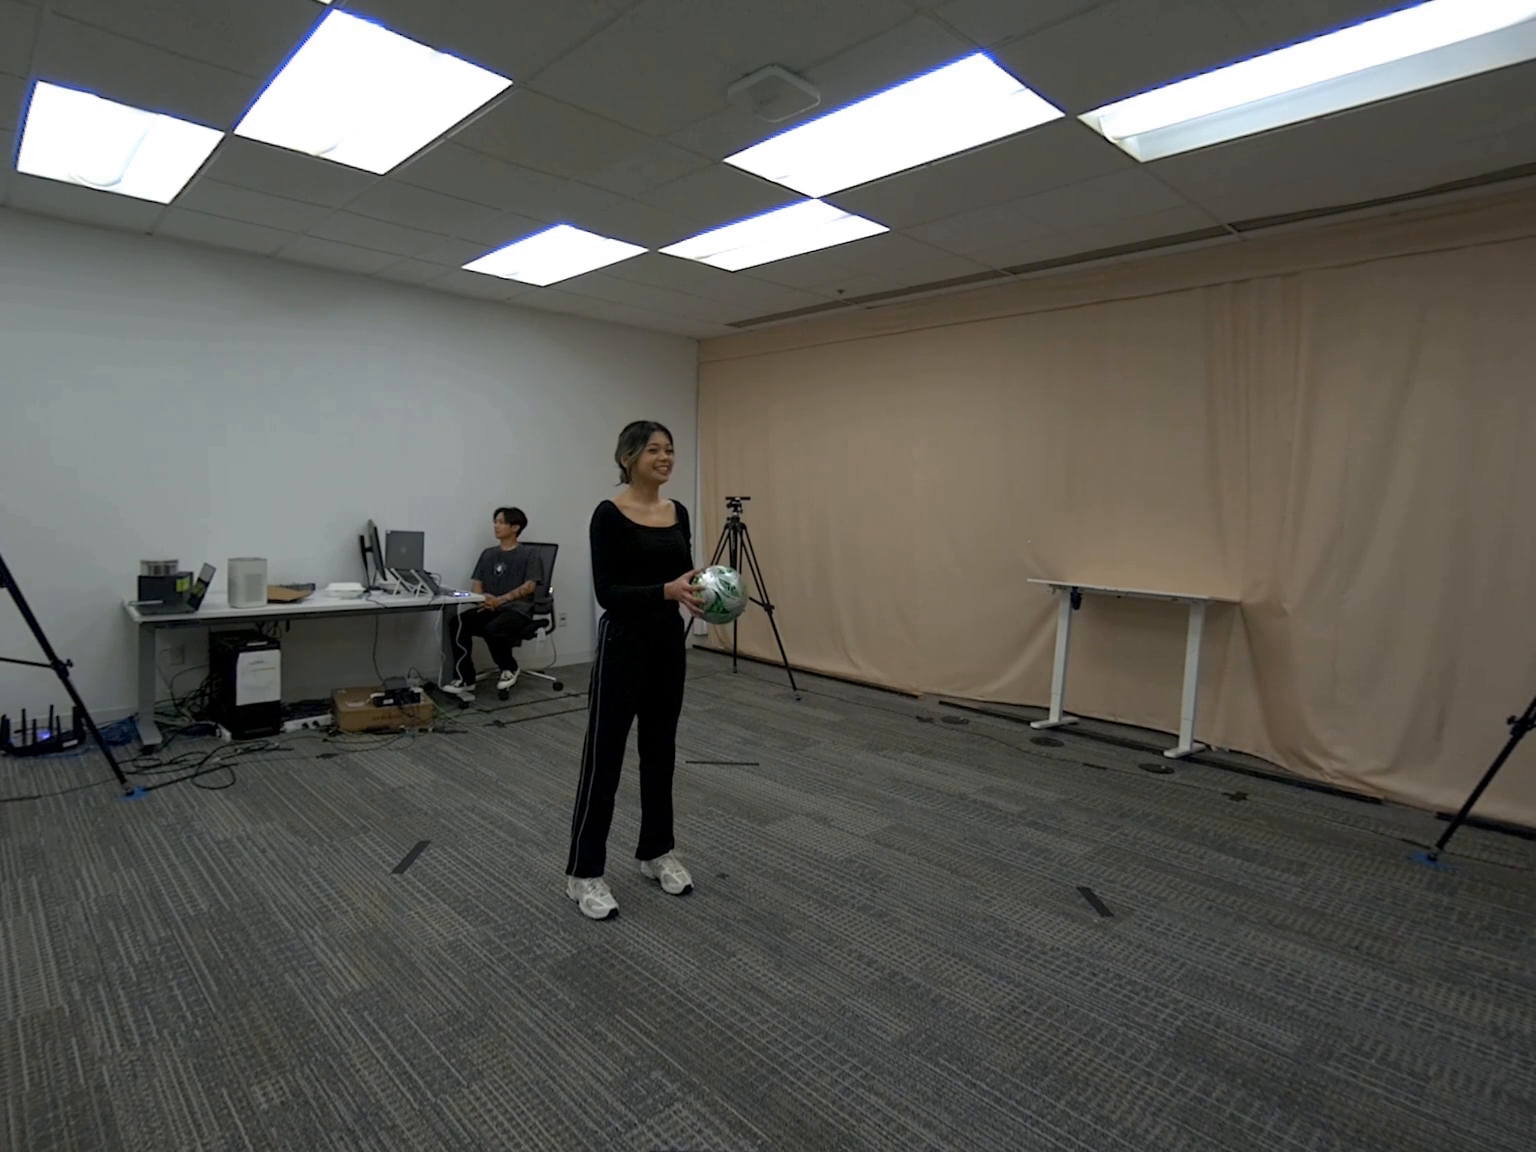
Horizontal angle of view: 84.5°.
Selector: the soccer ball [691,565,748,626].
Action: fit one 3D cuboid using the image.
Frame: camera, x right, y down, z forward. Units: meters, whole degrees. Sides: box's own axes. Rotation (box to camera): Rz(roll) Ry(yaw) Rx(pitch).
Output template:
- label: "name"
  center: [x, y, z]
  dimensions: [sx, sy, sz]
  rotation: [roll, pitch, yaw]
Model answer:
- label: "soccer ball"
  center: [-0.173, 0.055, 2.660]
  dimensions: [0.187, 0.187, 0.188]
  rotation: [1, 4, -1]
